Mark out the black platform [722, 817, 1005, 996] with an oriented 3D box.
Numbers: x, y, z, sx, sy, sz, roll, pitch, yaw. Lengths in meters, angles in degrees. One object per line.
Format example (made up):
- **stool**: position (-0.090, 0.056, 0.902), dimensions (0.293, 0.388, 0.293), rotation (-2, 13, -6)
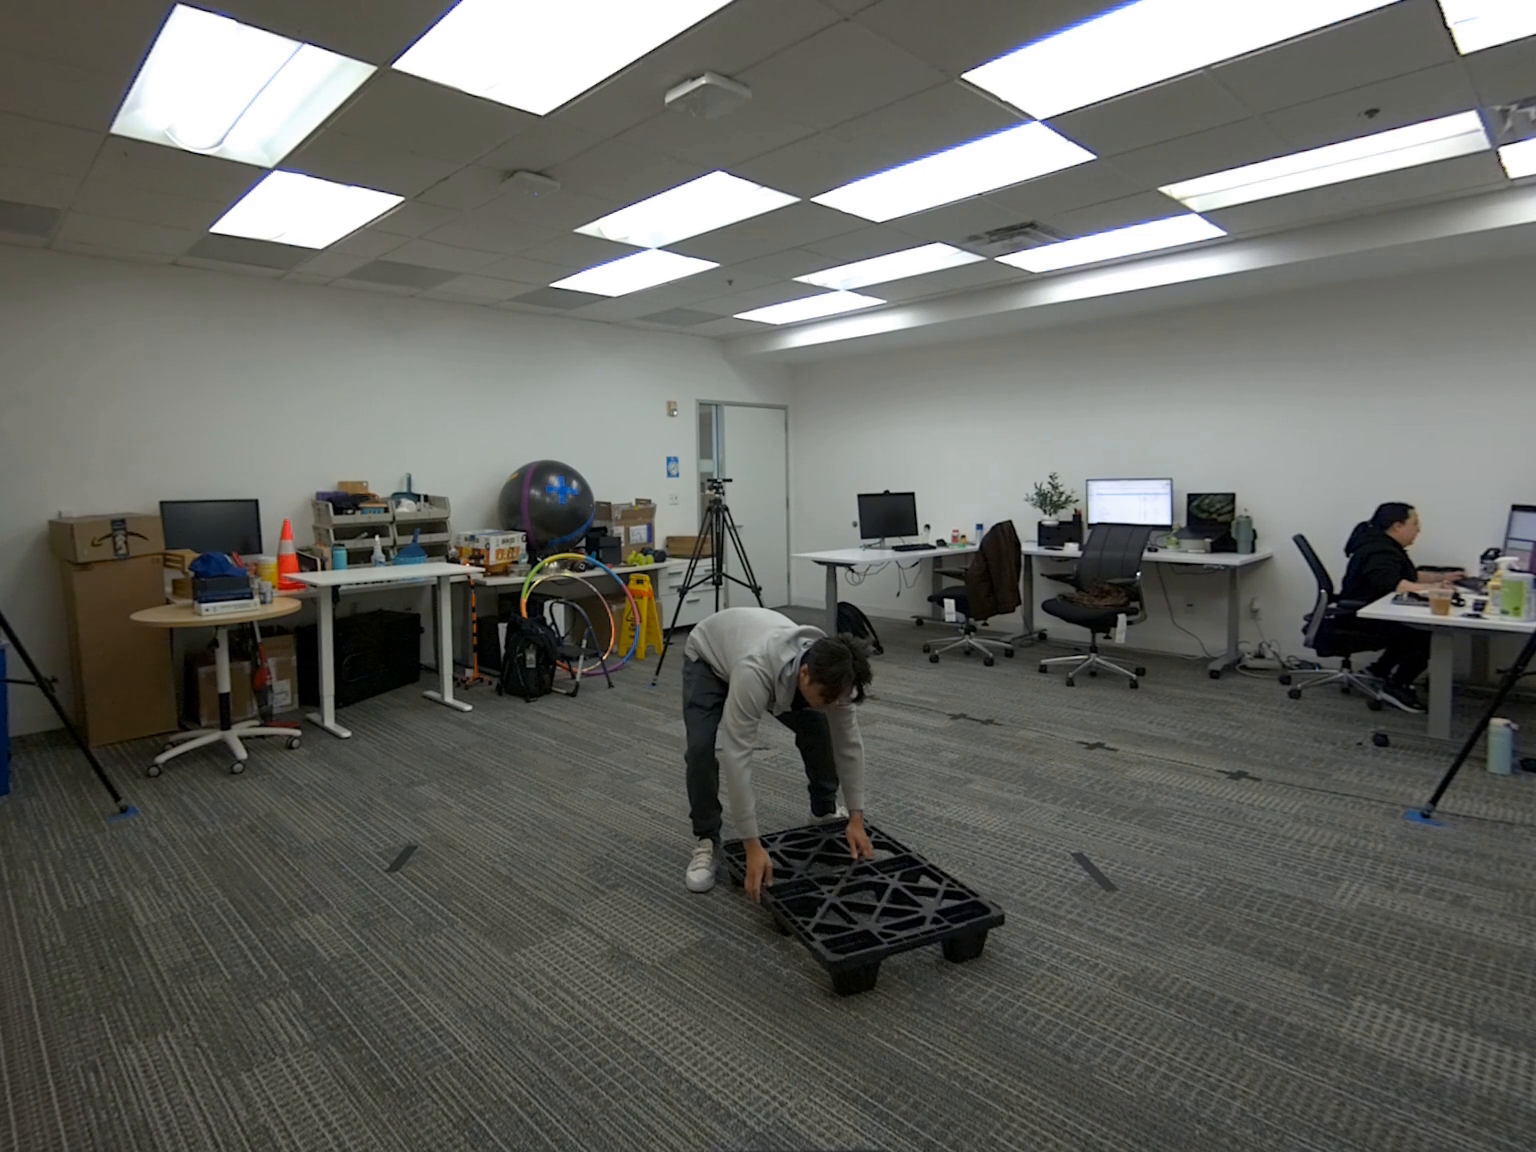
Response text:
- **black platform**: position (0.251, 1.017, 2.726), dimensions (0.592, 0.143, 0.826), rotation (-3, 7, -25)
